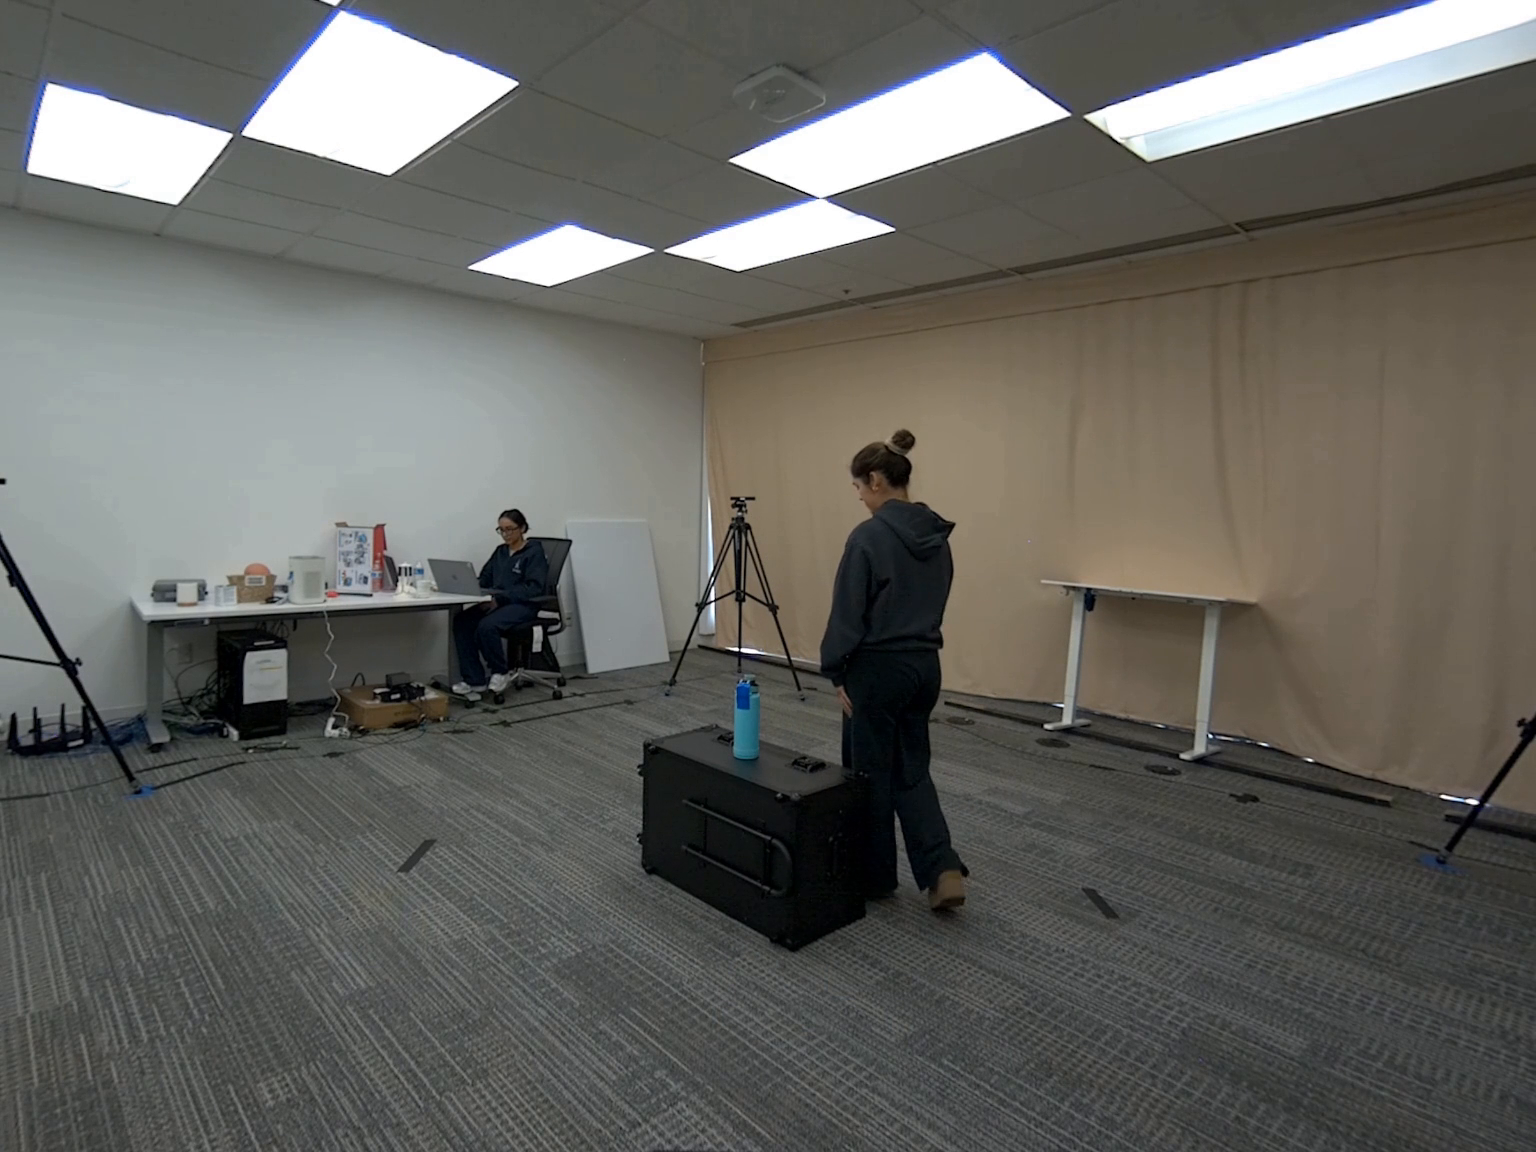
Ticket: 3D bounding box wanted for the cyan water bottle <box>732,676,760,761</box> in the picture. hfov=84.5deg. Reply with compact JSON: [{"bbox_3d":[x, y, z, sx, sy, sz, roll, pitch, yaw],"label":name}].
[{"bbox_3d":[-0.077,0.495,2.987,0.092,0.282,0.093,2,6,-2],"label":"cyan water bottle"}]
